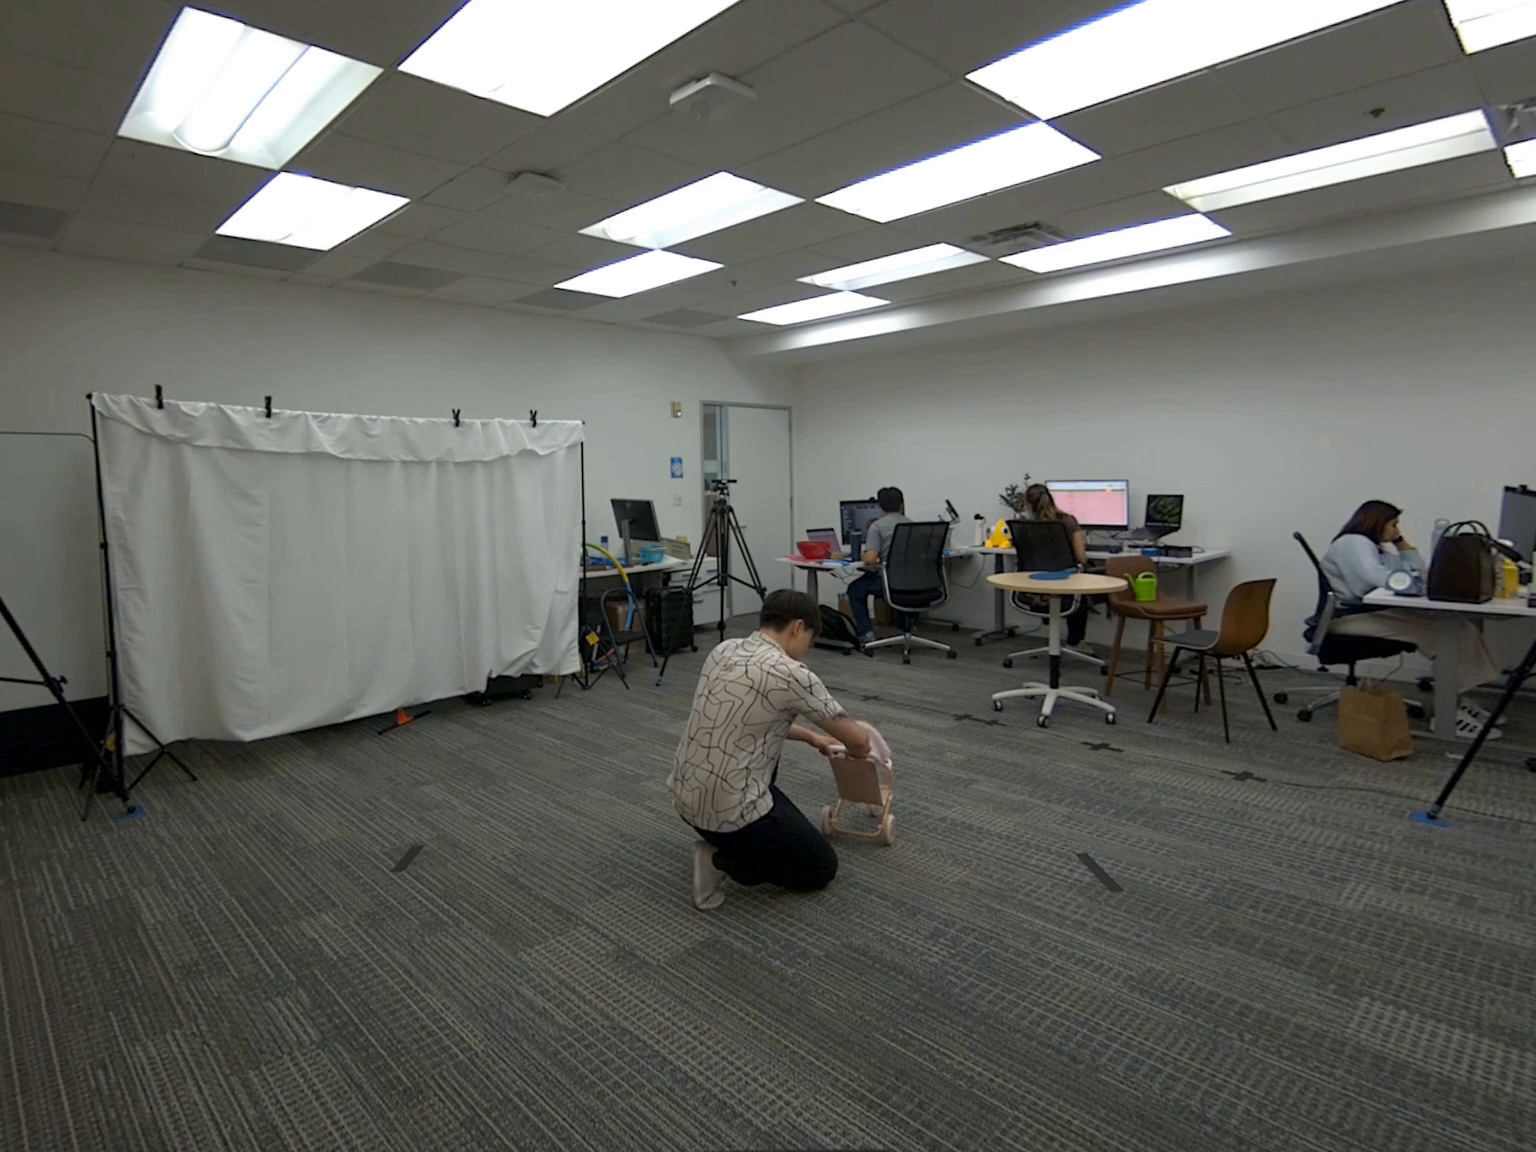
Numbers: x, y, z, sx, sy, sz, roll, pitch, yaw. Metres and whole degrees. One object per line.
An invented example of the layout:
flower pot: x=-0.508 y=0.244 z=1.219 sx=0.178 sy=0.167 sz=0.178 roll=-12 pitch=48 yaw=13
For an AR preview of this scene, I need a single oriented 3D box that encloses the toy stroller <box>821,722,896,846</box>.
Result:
toy stroller: x=0.365 y=0.791 z=3.349 sx=0.288 sy=0.524 sz=0.340 roll=1 pitch=23 yaw=25
